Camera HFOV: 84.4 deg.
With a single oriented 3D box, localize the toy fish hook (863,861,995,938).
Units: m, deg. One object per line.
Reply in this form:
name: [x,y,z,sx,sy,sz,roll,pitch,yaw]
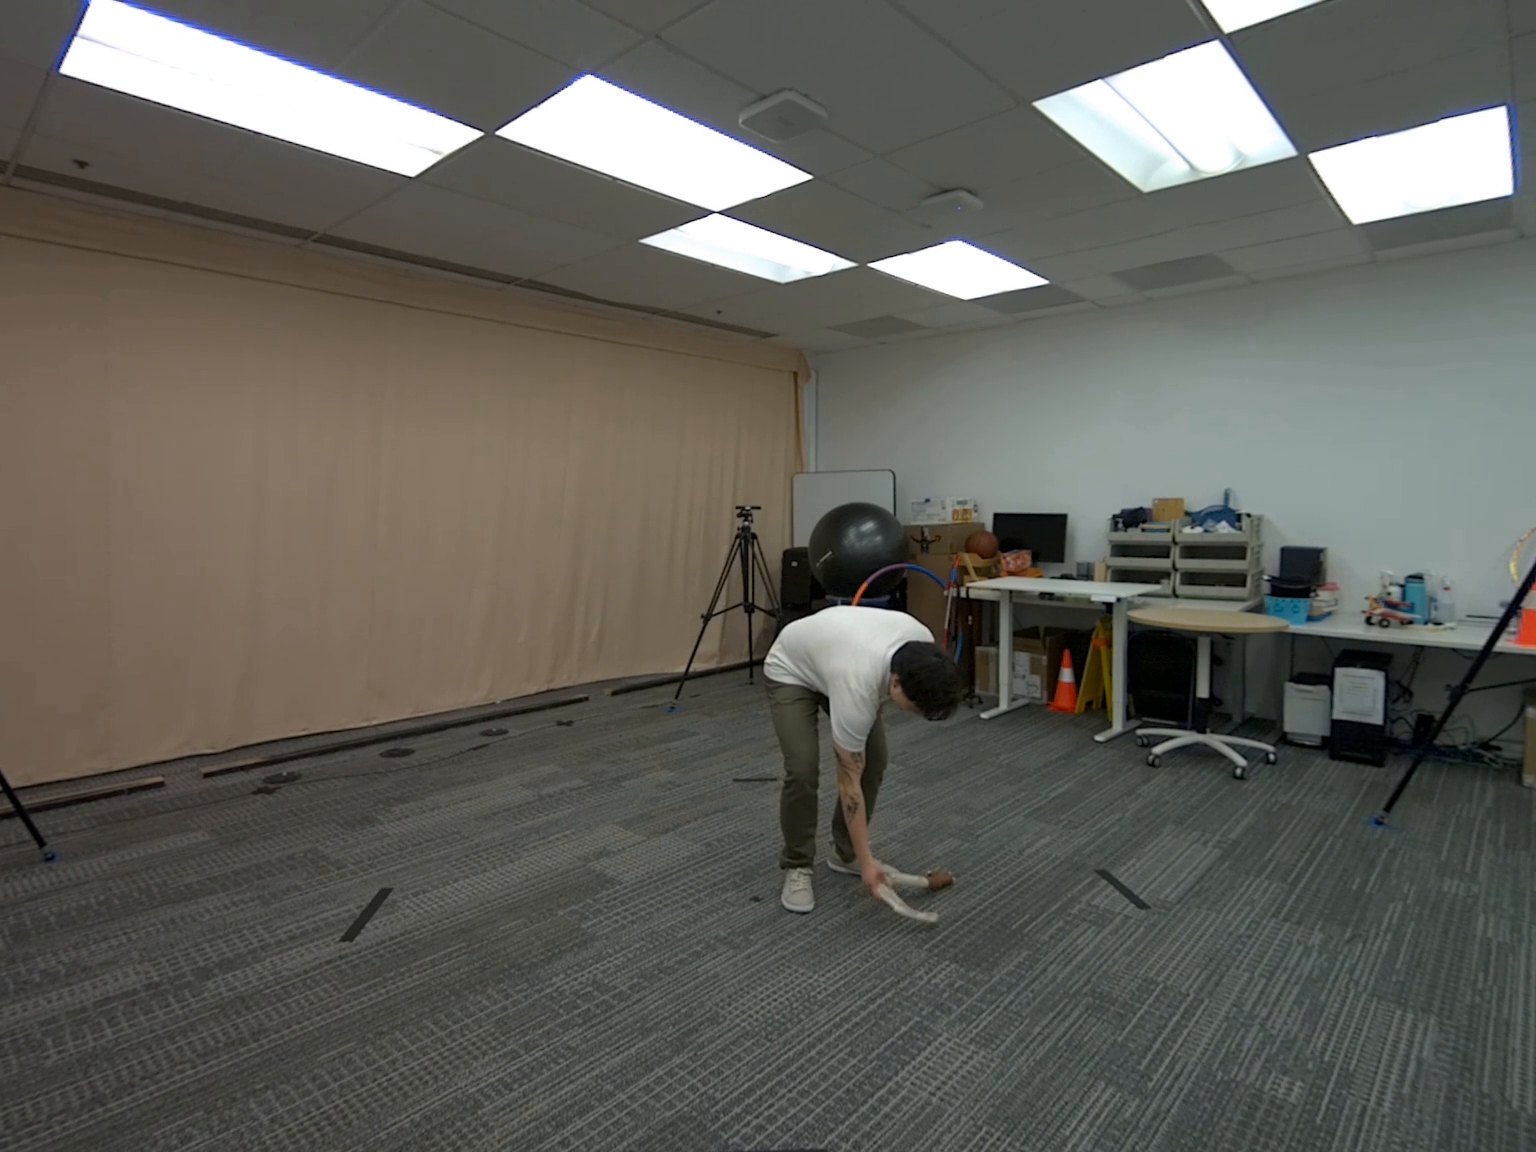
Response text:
toy fish hook: [0.557,1.095,2.899,0.489,0.048,0.233,15,20,-46]
